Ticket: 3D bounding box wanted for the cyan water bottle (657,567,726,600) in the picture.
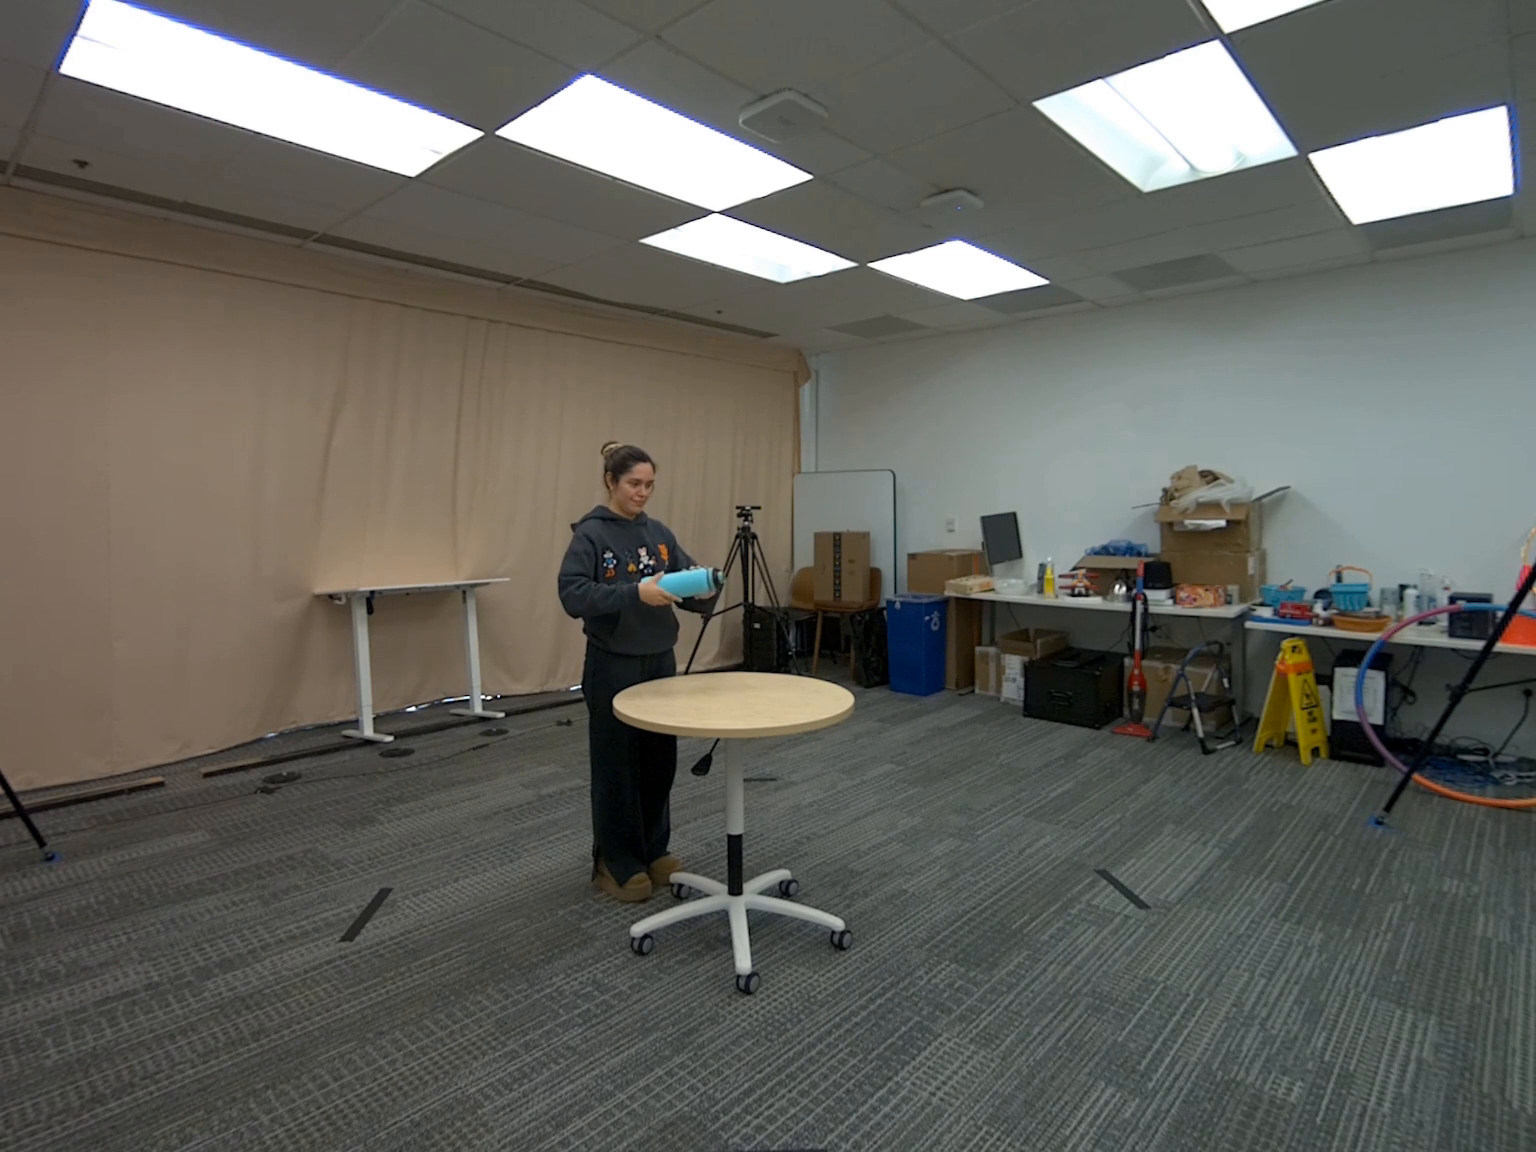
[{"bbox_3d":[-0.307,0.034,2.861,0.282,0.092,0.093,-3,4,-5],"label":"cyan water bottle"}]
